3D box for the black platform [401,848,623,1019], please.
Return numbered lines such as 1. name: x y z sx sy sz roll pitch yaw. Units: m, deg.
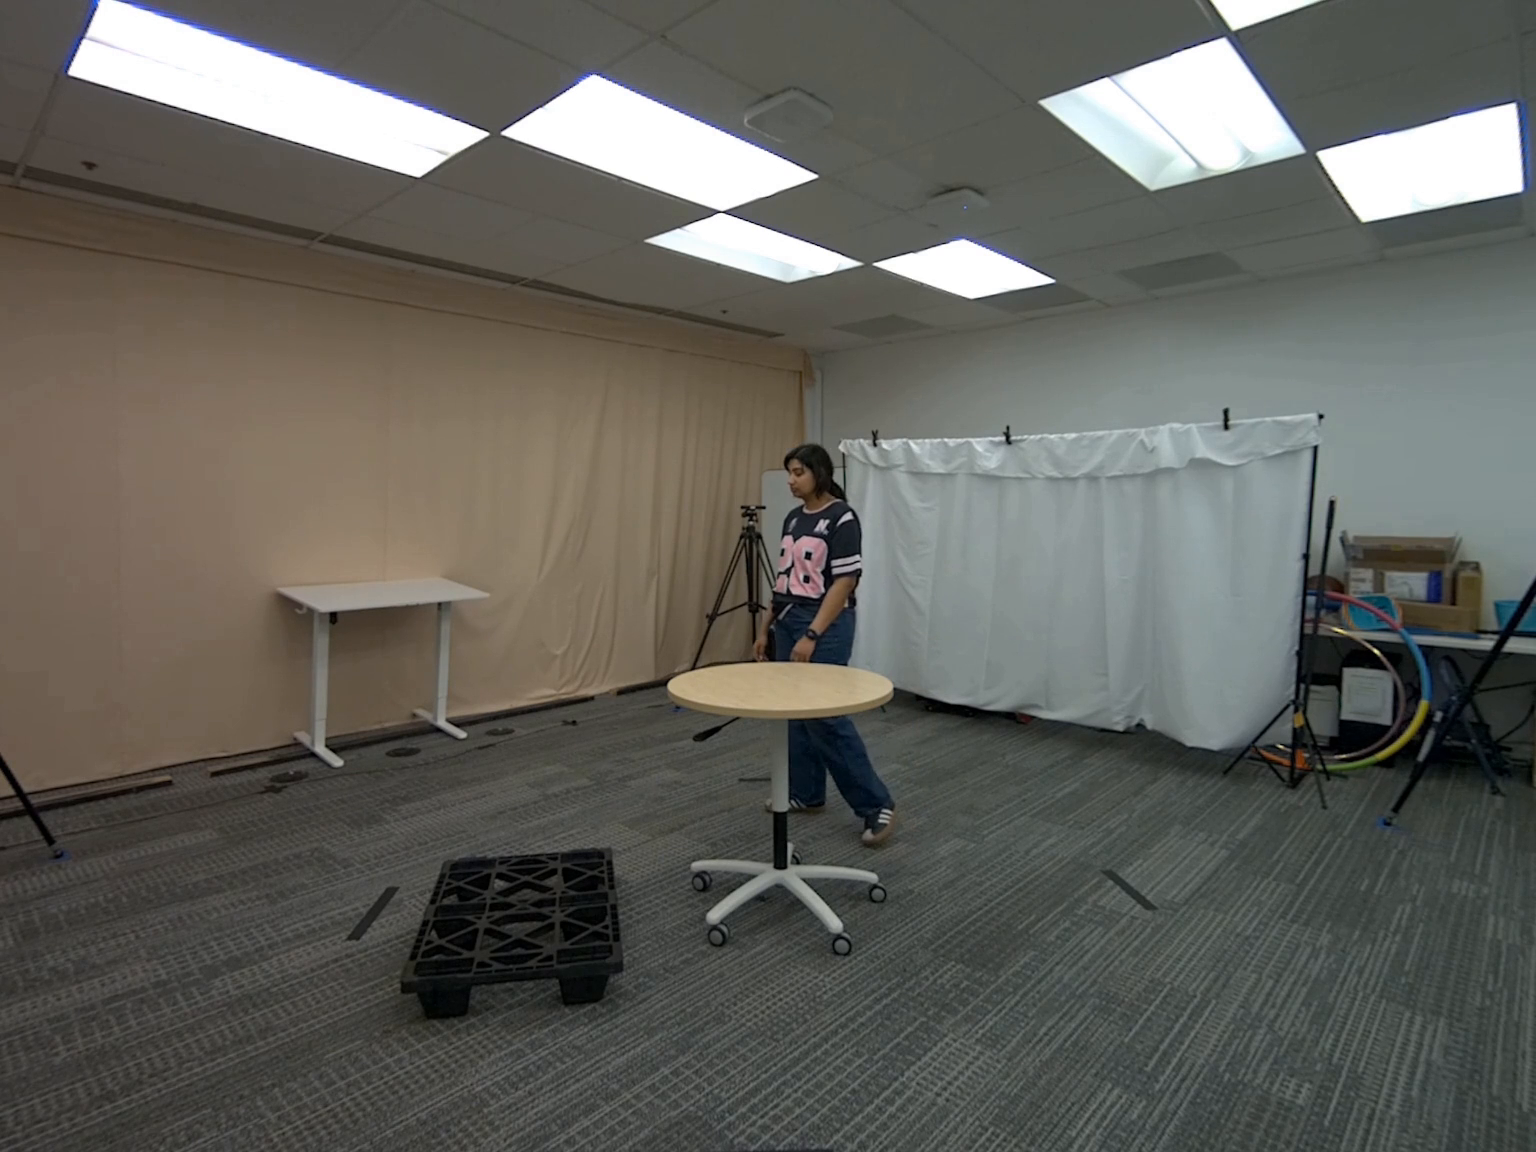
1. black platform: -0.777 1.108 2.683 0.598 0.143 0.817 -1 5 -12
